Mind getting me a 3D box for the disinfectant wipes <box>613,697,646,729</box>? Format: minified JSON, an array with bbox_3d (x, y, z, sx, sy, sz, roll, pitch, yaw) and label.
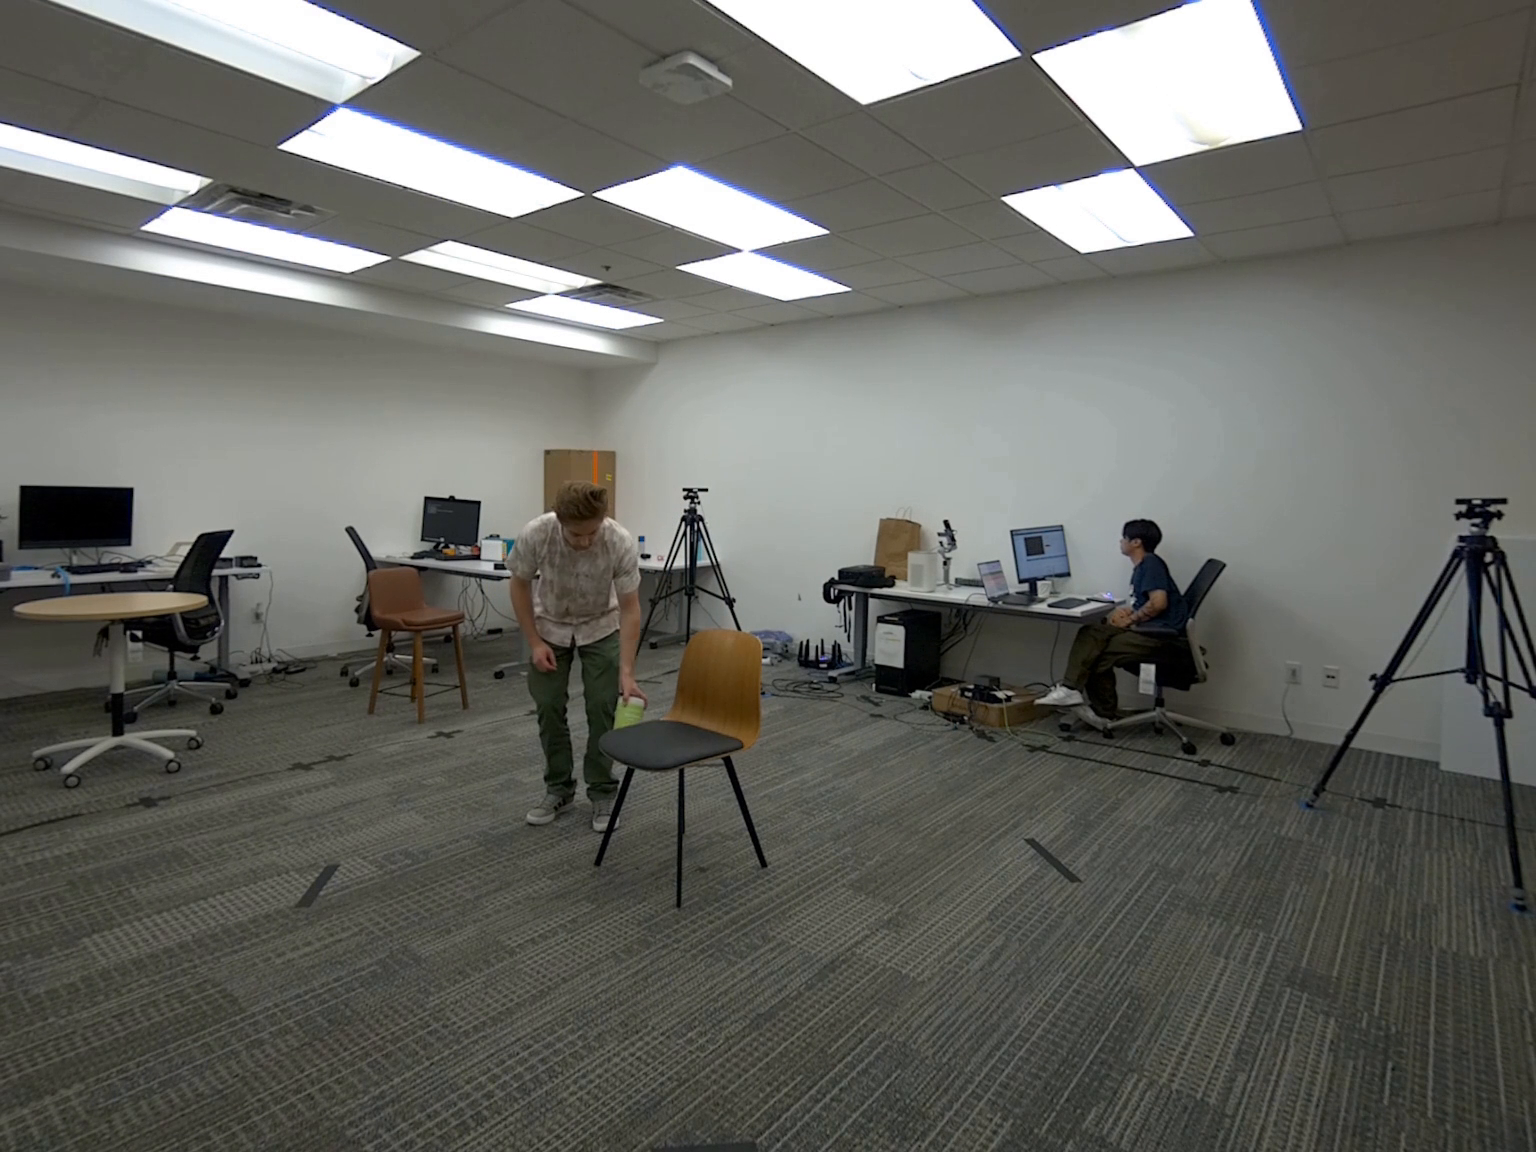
[{"bbox_3d":[-0.572,0.589,3.380,0.118,0.220,0.116,5,-15,-1],"label":"disinfectant wipes"}]
